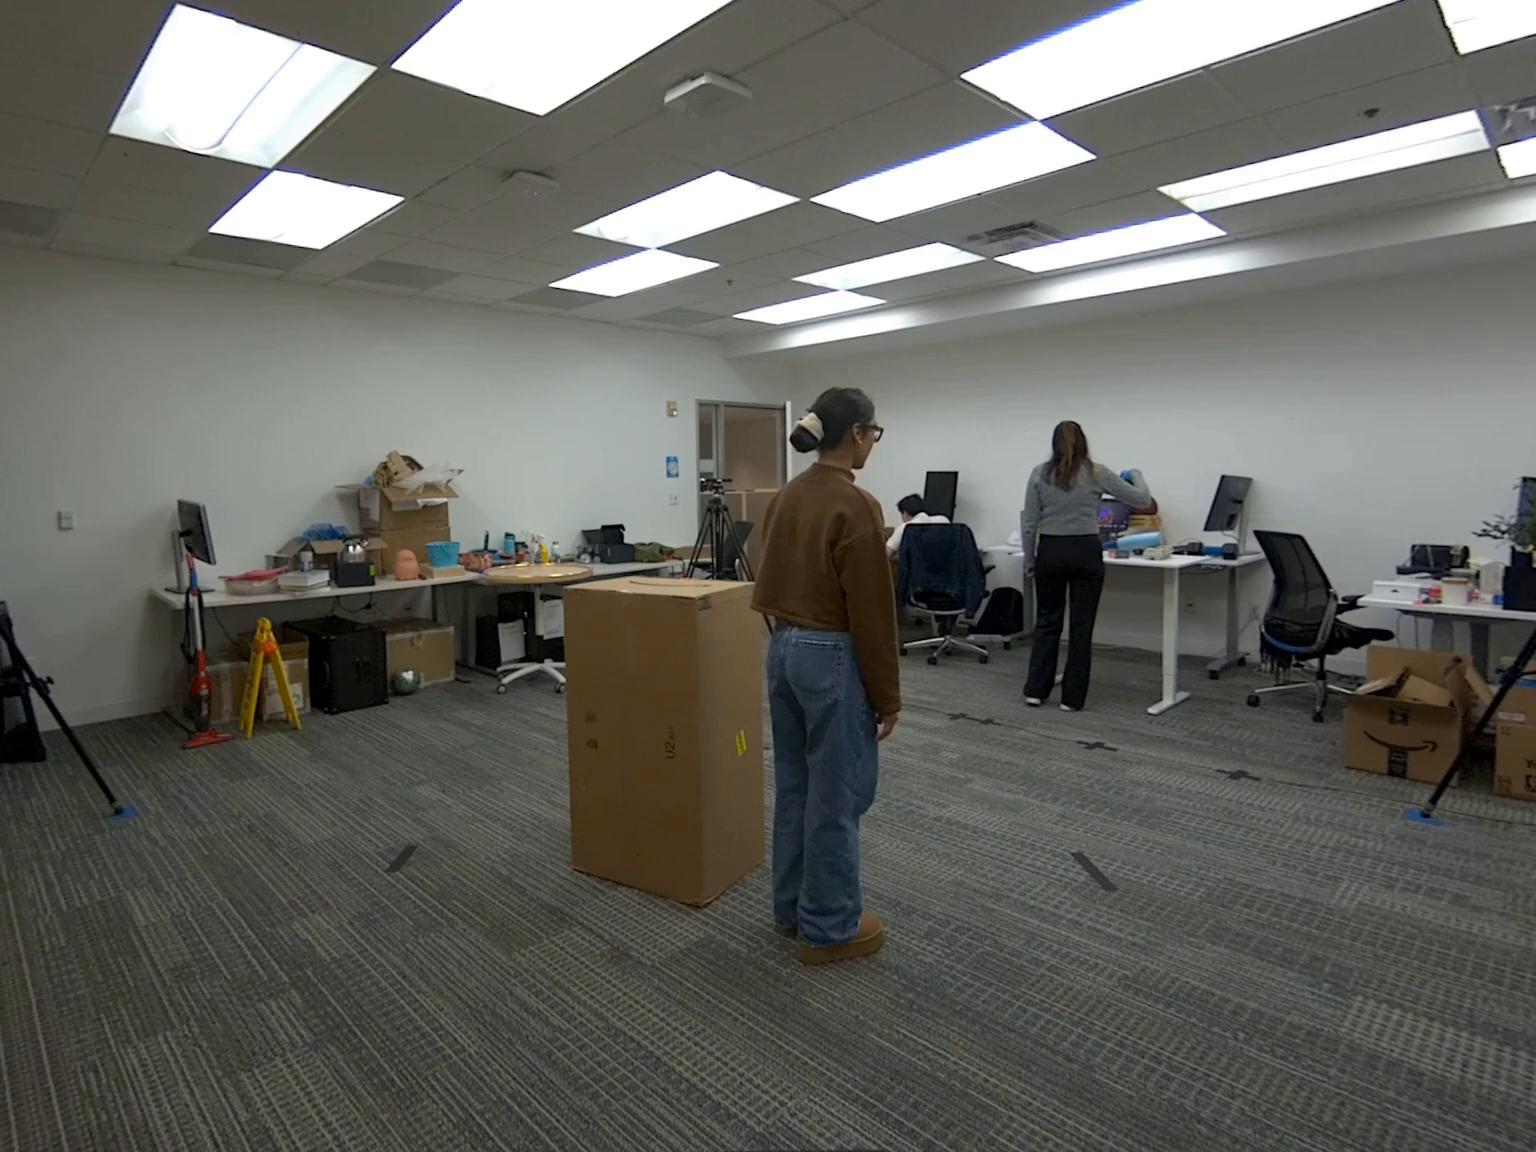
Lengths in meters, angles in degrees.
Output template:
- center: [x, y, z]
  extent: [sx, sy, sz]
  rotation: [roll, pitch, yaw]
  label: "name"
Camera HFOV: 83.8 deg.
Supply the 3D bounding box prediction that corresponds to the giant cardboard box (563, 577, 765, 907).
- center: [-0.369, 0.543, 3.086]
  extent: [0.593, 1.023, 0.416]
  rotation: [1, 4, 32]
  label: "giant cardboard box"
